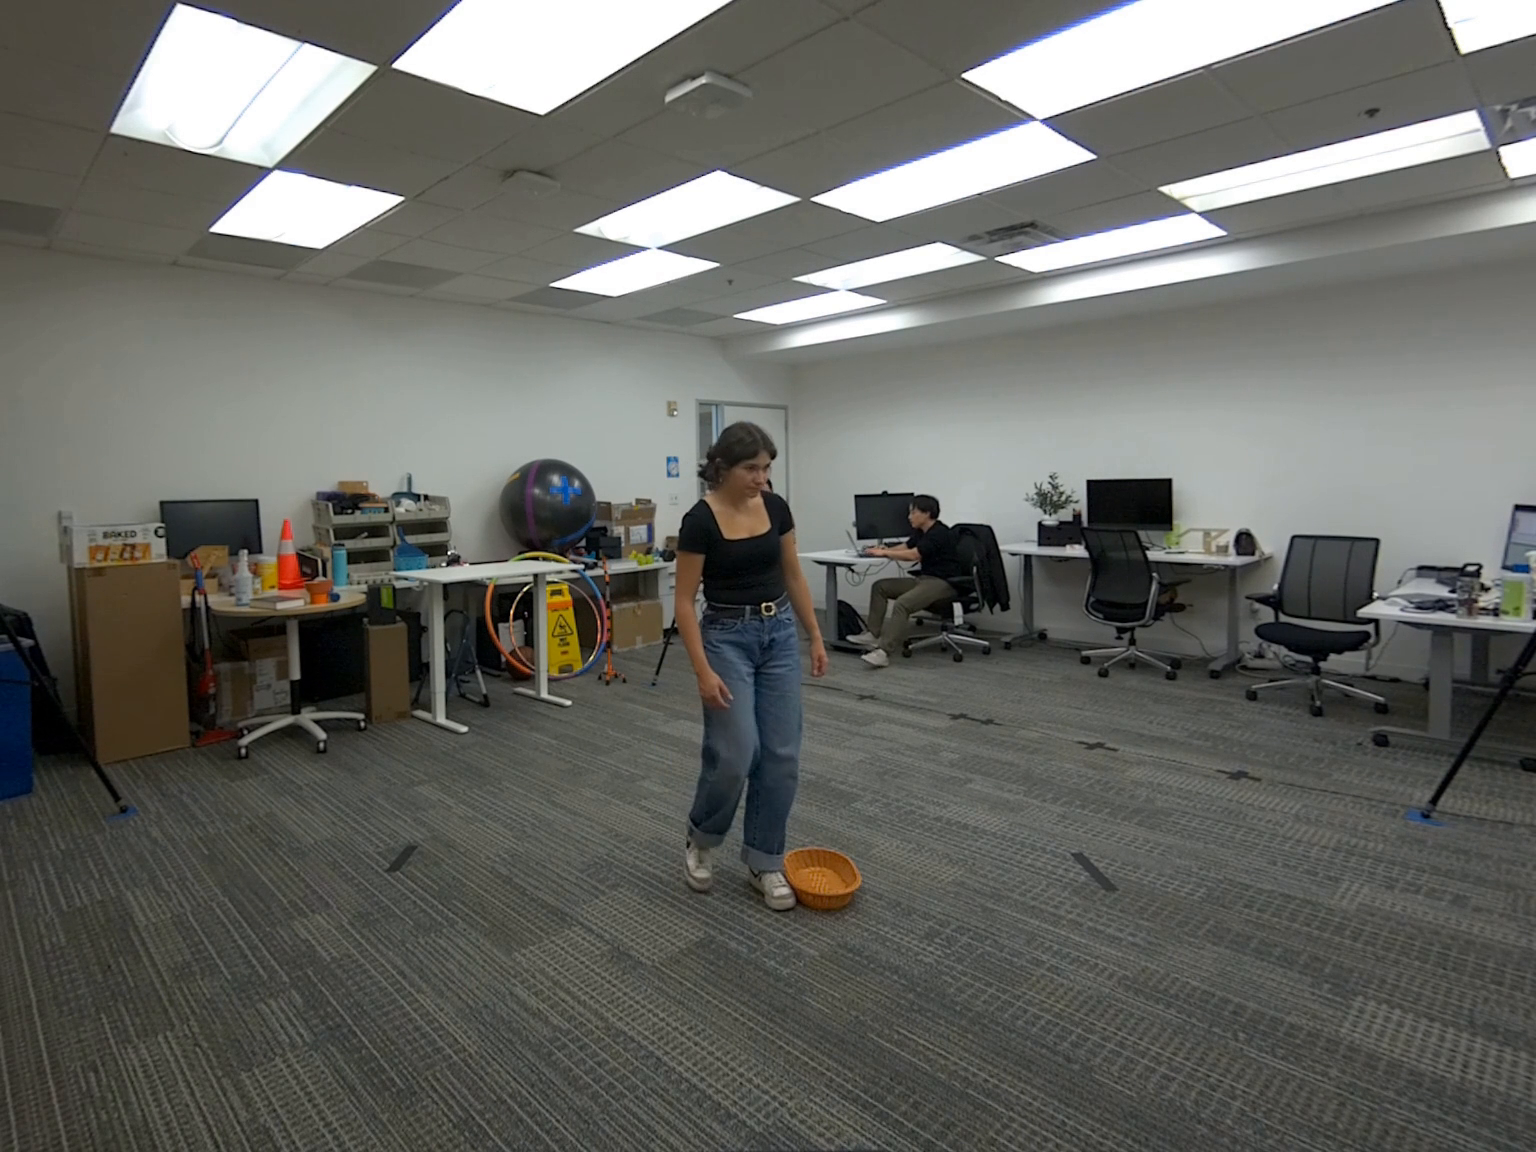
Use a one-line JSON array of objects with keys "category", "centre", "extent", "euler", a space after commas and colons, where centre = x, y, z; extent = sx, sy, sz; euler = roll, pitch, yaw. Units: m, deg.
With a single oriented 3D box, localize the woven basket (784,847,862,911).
[{"category": "woven basket", "centre": [0.178, 1.023, 2.900], "extent": [0.250, 0.073, 0.355], "euler": [-1, 6, -9]}]
